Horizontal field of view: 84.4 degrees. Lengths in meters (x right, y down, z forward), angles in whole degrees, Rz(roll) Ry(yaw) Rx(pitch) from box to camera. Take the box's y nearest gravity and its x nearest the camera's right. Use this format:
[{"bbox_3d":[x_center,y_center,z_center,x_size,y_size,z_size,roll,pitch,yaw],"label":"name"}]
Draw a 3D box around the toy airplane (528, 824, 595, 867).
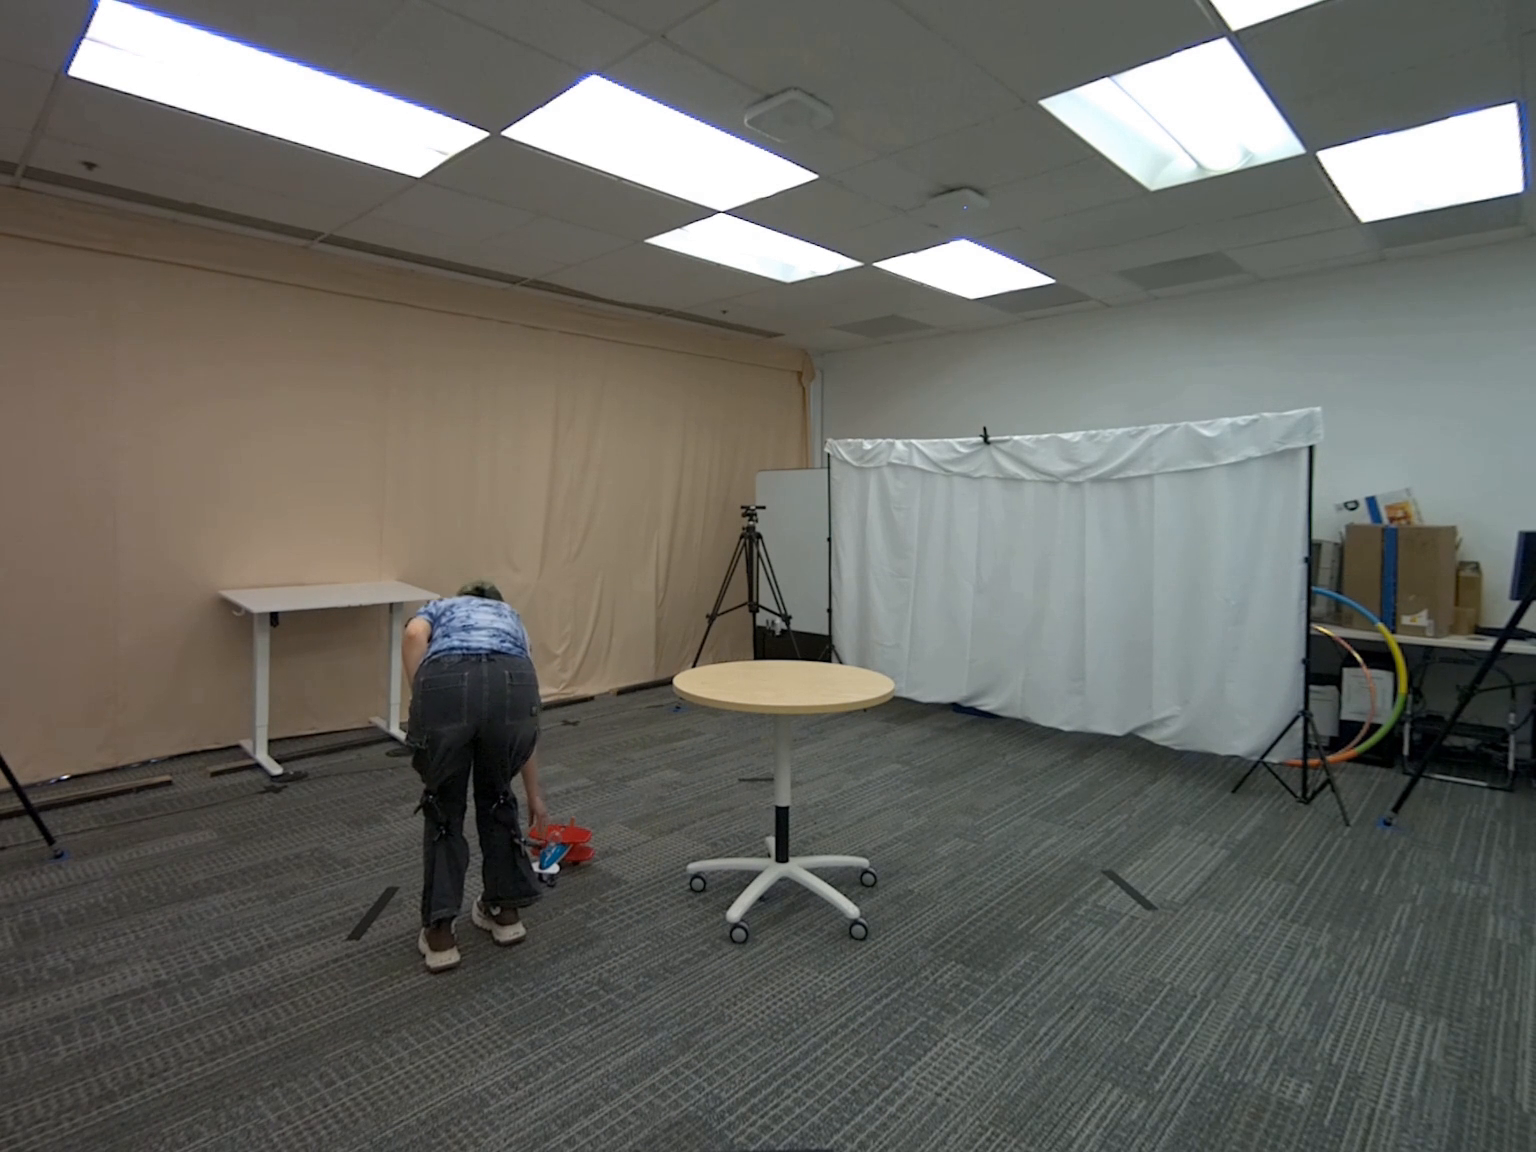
[{"bbox_3d":[-0.787,1.058,3.216,0.247,0.156,0.264,-2,3,-16],"label":"toy airplane"}]
